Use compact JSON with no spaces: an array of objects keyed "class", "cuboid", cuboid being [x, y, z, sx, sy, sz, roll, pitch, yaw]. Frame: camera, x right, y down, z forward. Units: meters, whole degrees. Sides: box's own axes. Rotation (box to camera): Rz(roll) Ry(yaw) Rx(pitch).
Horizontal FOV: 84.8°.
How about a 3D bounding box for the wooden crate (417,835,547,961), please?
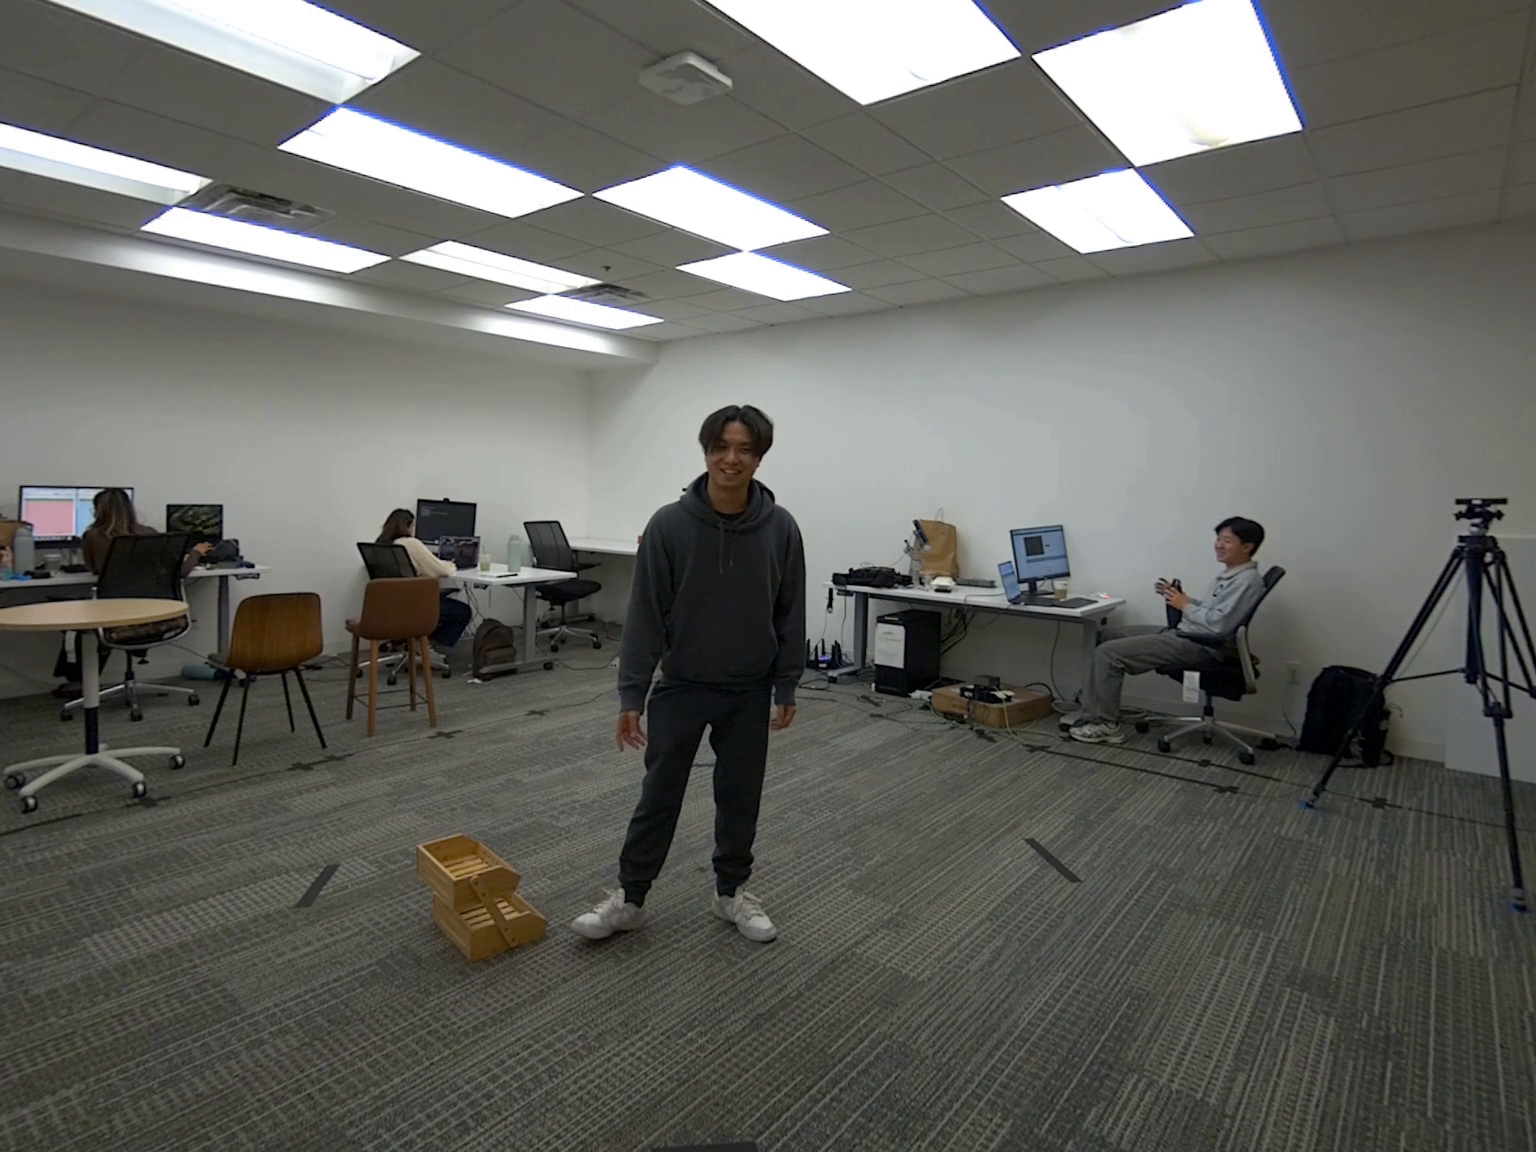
[{"class":"wooden crate","cuboid":[-0.896,0.967,2.647,0.293,0.272,0.335,-3,6,-42]}]
